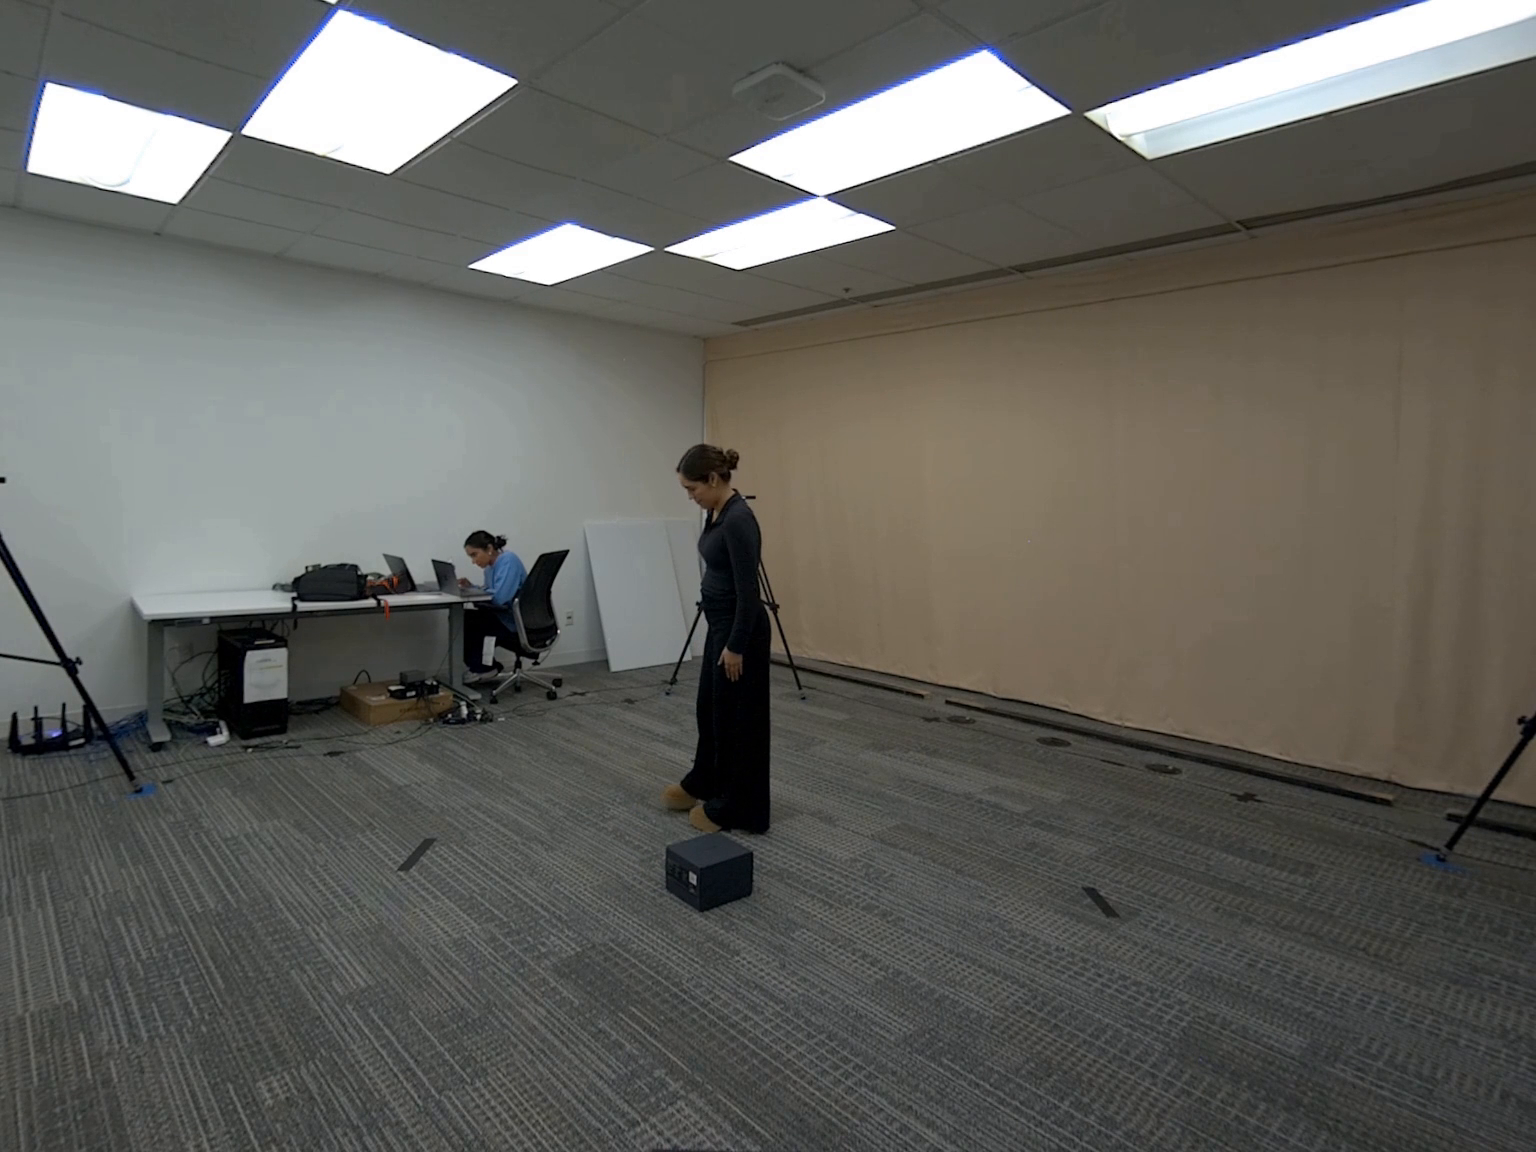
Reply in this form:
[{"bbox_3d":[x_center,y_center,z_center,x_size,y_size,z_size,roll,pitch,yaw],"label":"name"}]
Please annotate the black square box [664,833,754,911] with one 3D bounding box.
[{"bbox_3d":[-0.220,1.034,2.957,0.223,0.155,0.222,-4,6,-40],"label":"black square box"}]
